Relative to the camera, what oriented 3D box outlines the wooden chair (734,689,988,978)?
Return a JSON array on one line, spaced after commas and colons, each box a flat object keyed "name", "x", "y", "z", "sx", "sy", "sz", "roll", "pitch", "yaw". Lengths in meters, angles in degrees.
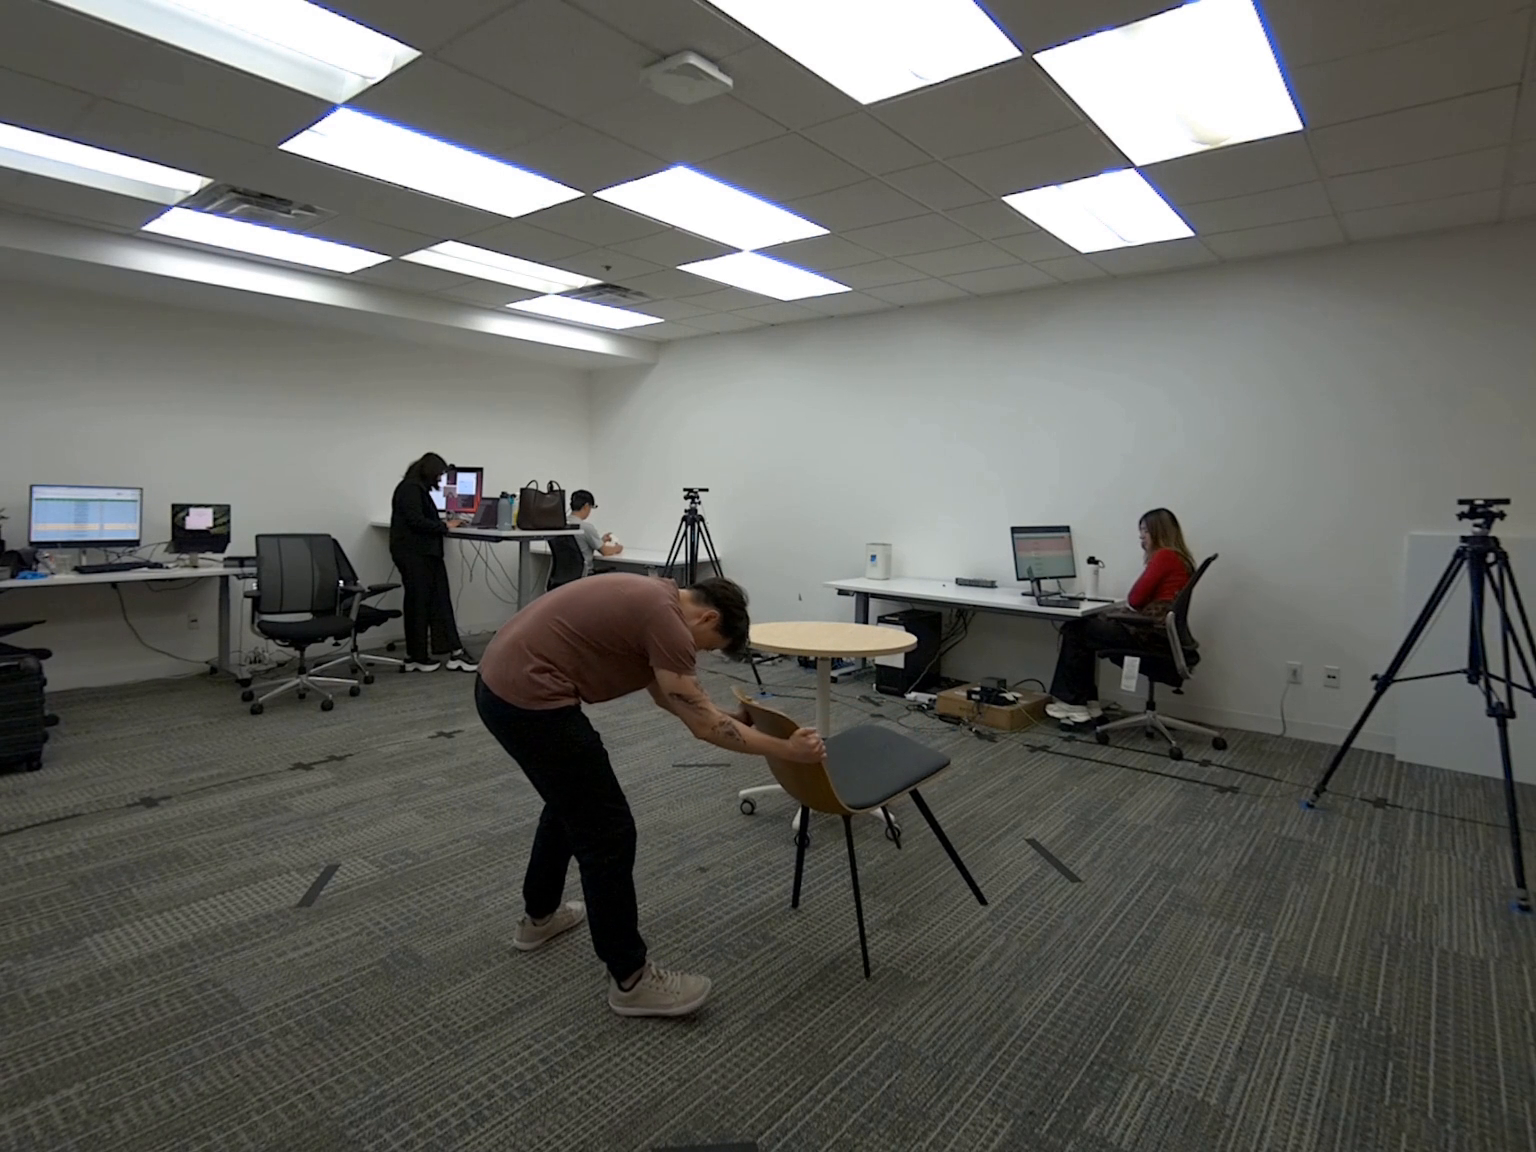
[{"name": "wooden chair", "x": 0.268, "y": 0.648, "z": 2.646, "sx": 0.517, "sy": 0.865, "sz": 0.491, "roll": -24, "pitch": 13, "yaw": -22}]
